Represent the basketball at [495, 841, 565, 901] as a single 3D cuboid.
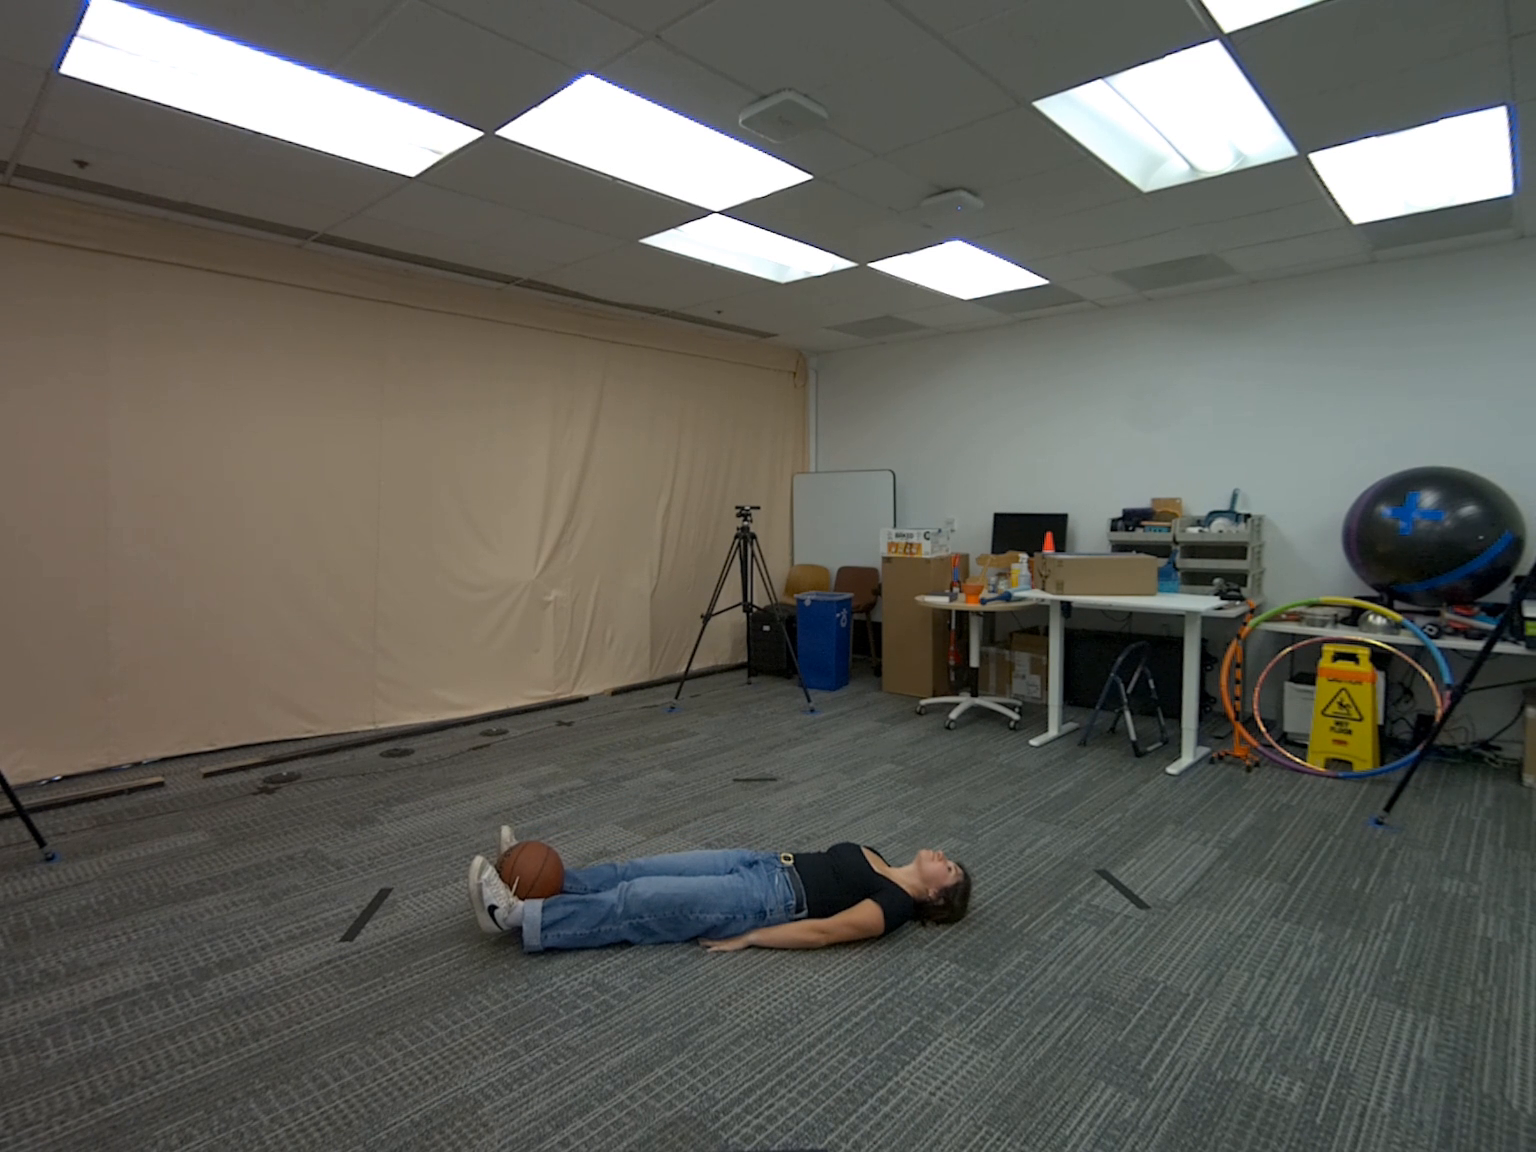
[{"bbox_3d":[-0.794,1.004,2.790,0.236,0.235,0.237,0,4,-2],"label":"basketball"}]
